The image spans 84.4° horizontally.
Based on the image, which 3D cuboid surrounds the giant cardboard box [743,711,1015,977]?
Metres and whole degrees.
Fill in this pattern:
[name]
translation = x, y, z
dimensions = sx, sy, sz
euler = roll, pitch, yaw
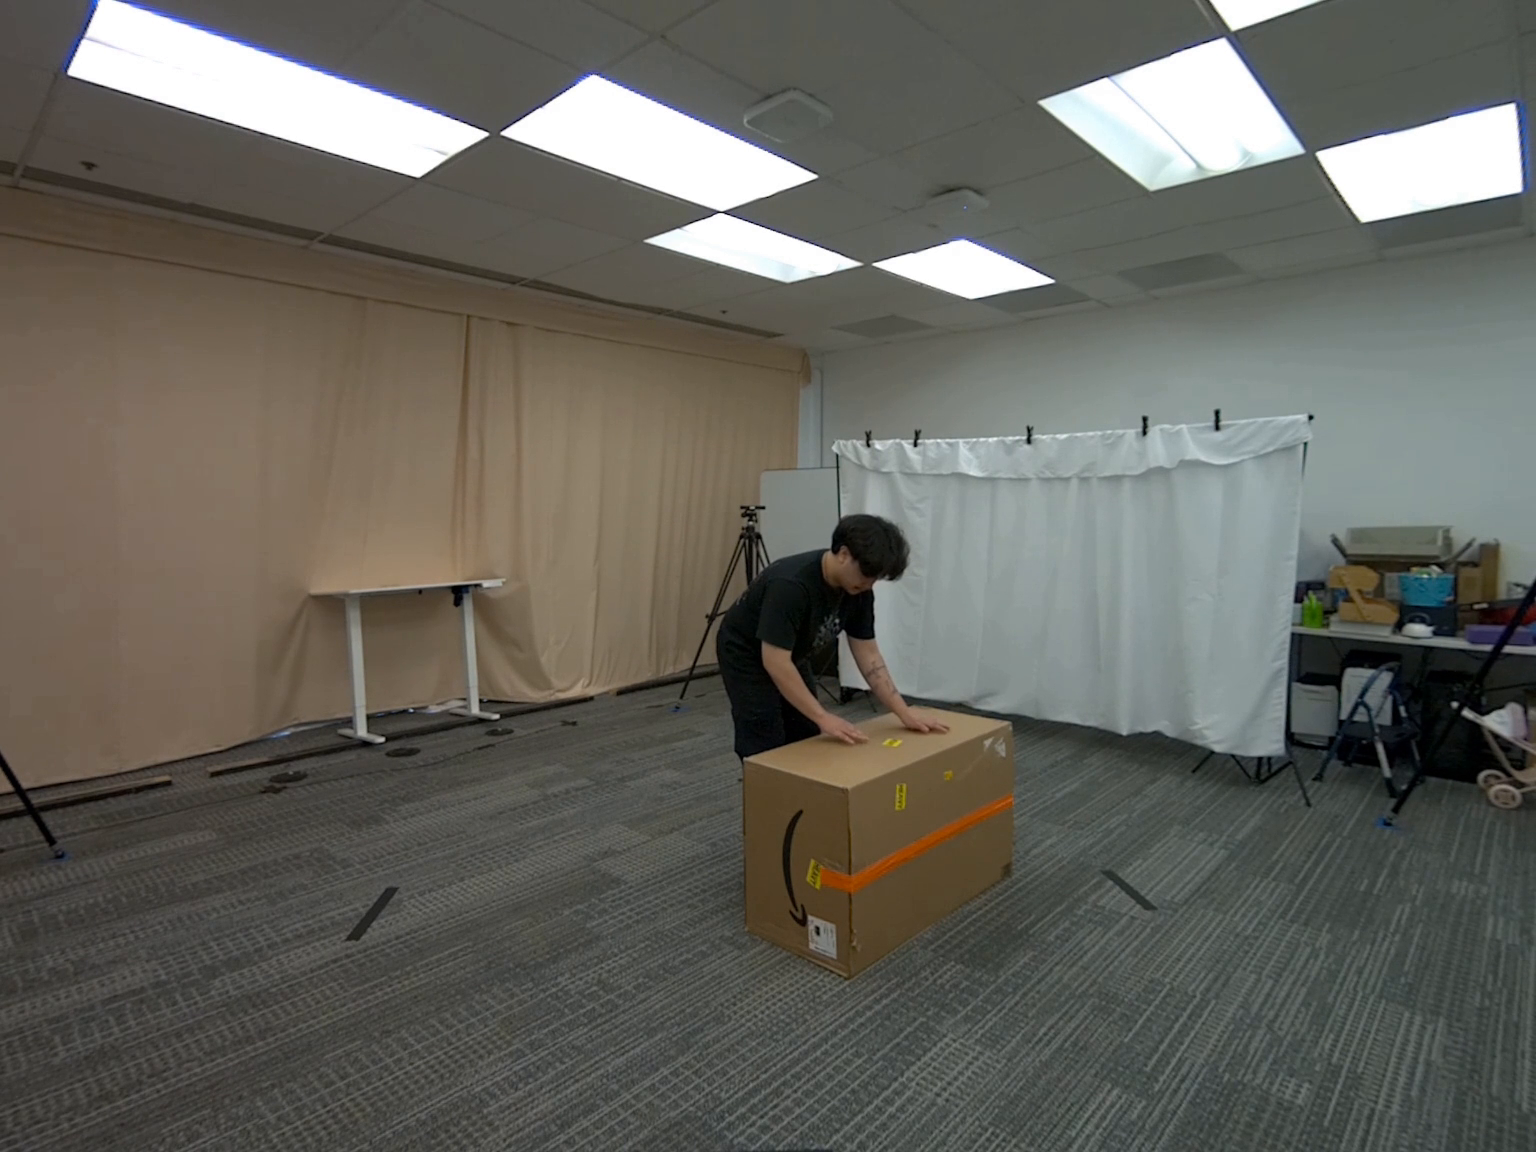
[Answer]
[giant cardboard box]
translation = 0.427, 0.860, 2.953
dimensions = 0.462, 0.582, 0.996
euler = 4, 7, 43
